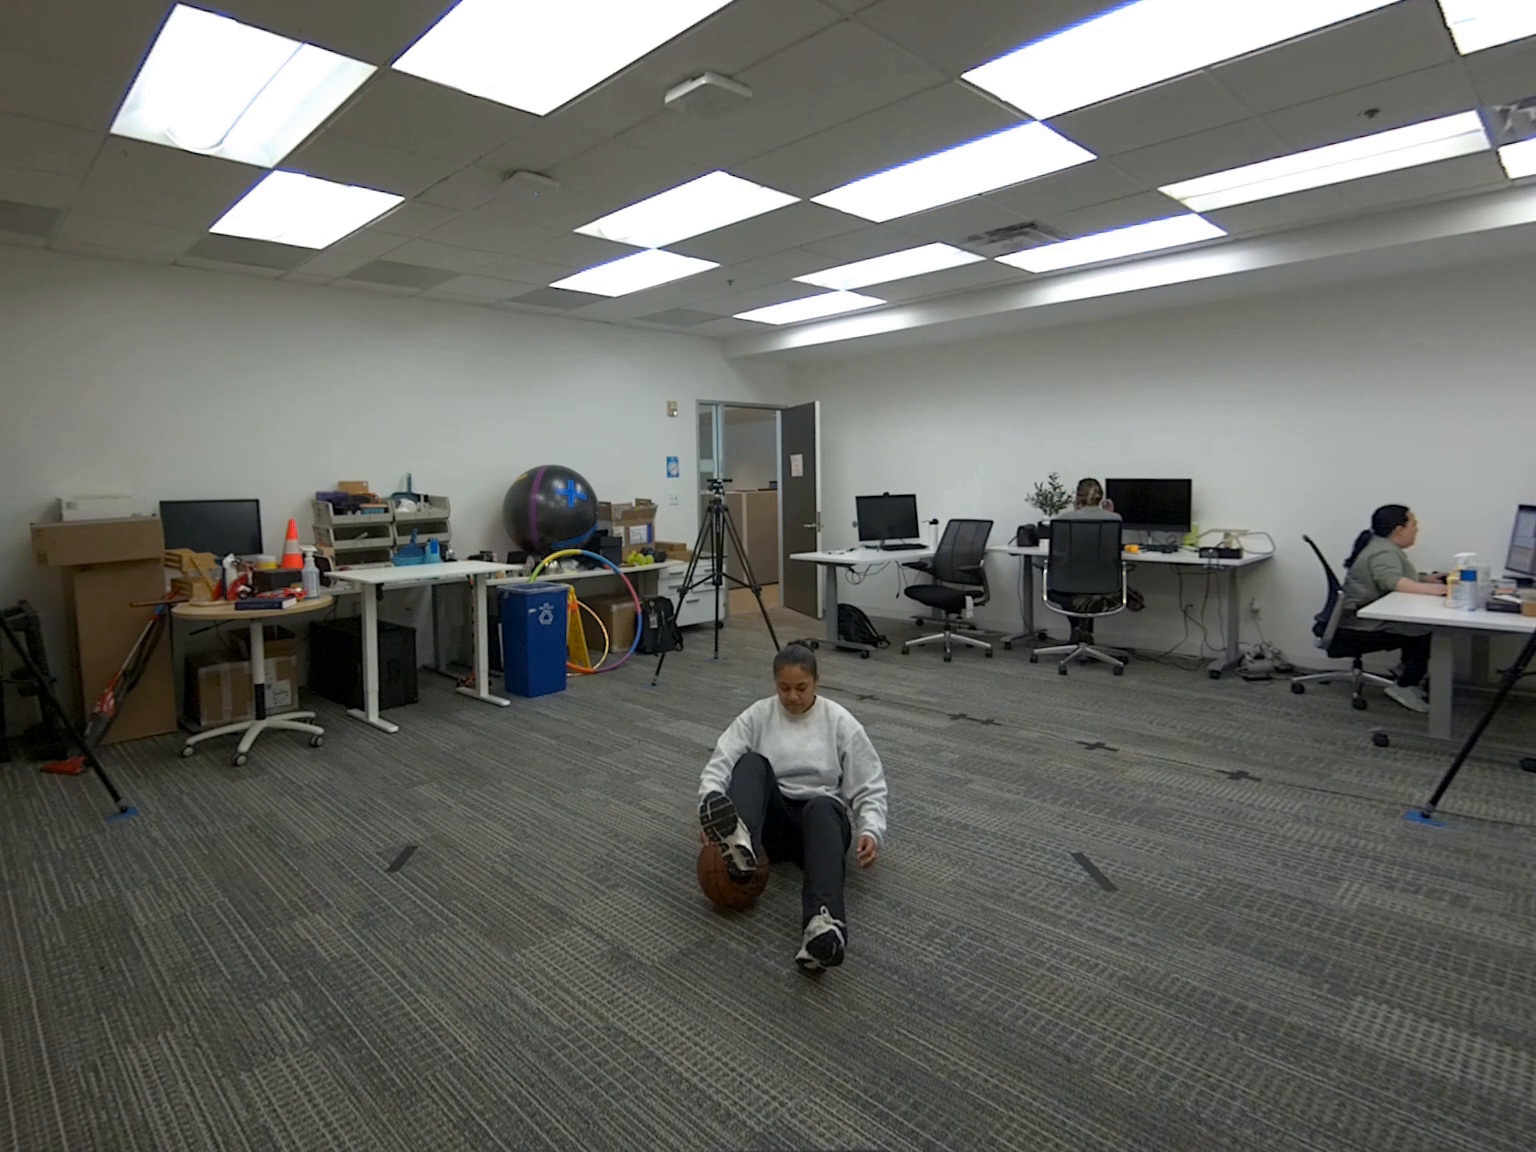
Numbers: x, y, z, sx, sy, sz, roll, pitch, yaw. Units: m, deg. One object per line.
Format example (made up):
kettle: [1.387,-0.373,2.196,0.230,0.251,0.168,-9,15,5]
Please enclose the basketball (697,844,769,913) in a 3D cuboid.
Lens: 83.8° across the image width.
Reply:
basketball: [-0.111,0.962,2.805,0.236,0.235,0.237,-1,5,-2]
